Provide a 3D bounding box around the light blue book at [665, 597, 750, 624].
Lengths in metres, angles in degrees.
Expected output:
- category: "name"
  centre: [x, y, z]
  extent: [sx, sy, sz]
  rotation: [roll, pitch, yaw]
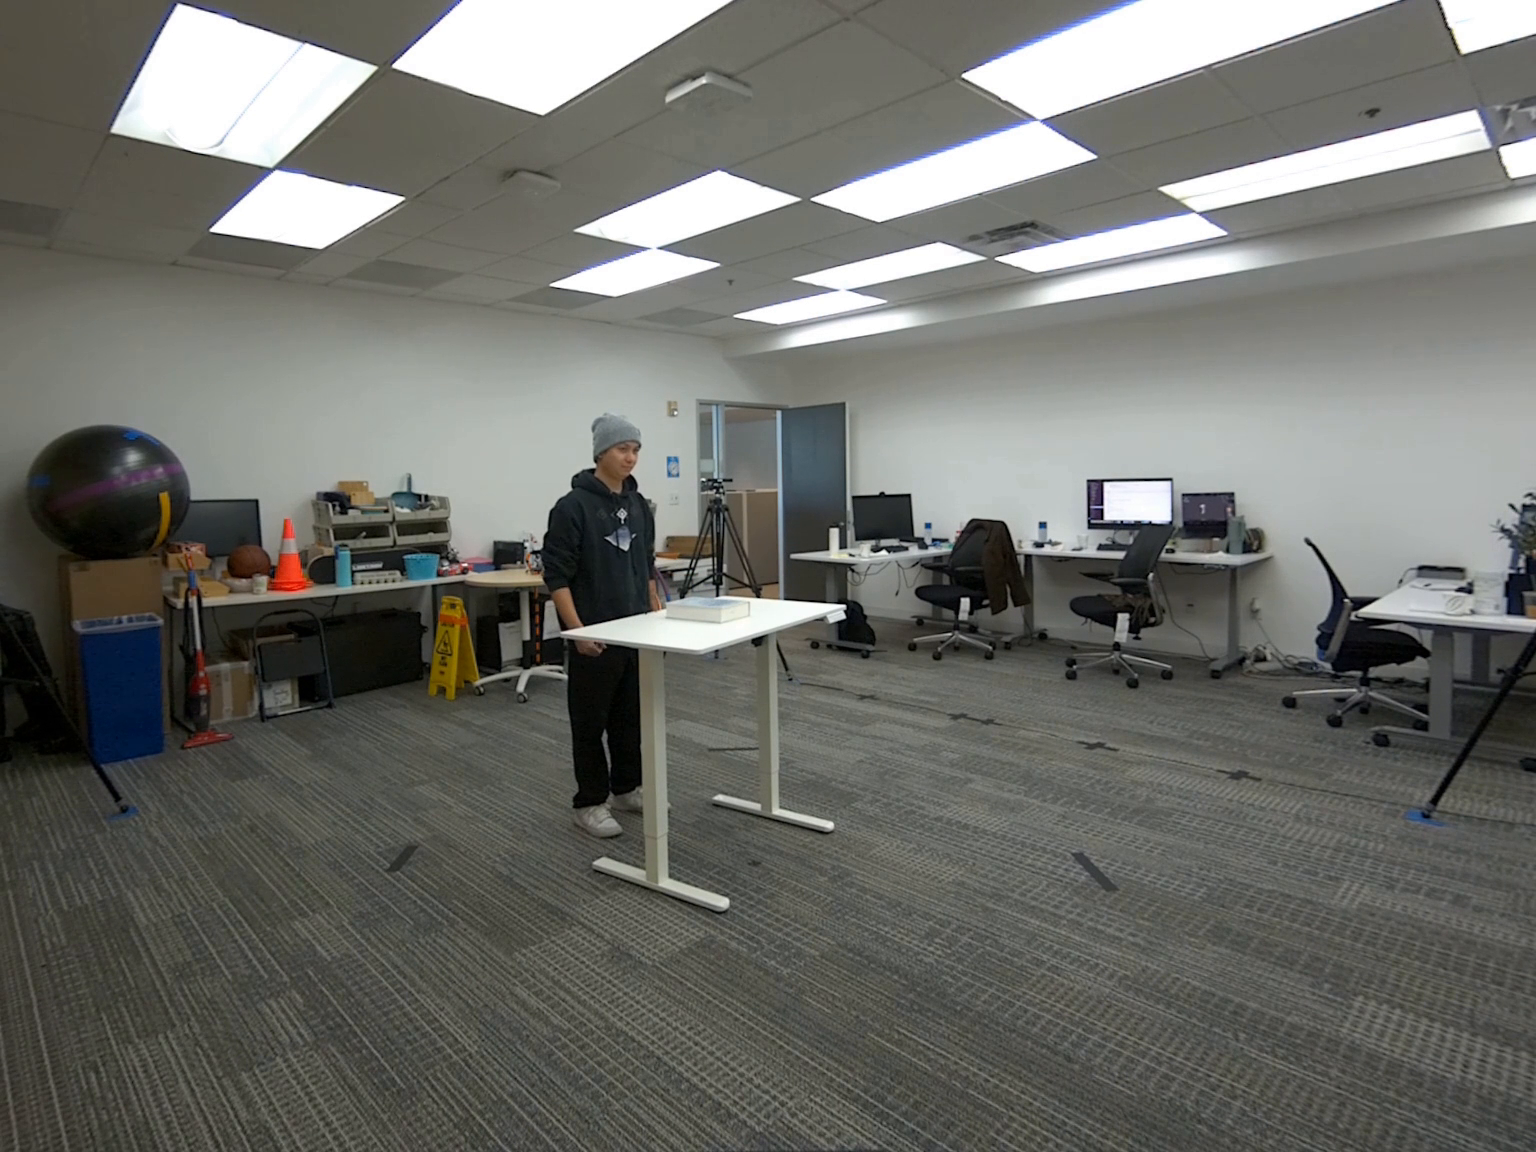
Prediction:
- category: "light blue book"
  centre: [-0.230, 0.128, 3.200]
  extent: [0.268, 0.059, 0.187]
  rotation: [3, 7, 34]
